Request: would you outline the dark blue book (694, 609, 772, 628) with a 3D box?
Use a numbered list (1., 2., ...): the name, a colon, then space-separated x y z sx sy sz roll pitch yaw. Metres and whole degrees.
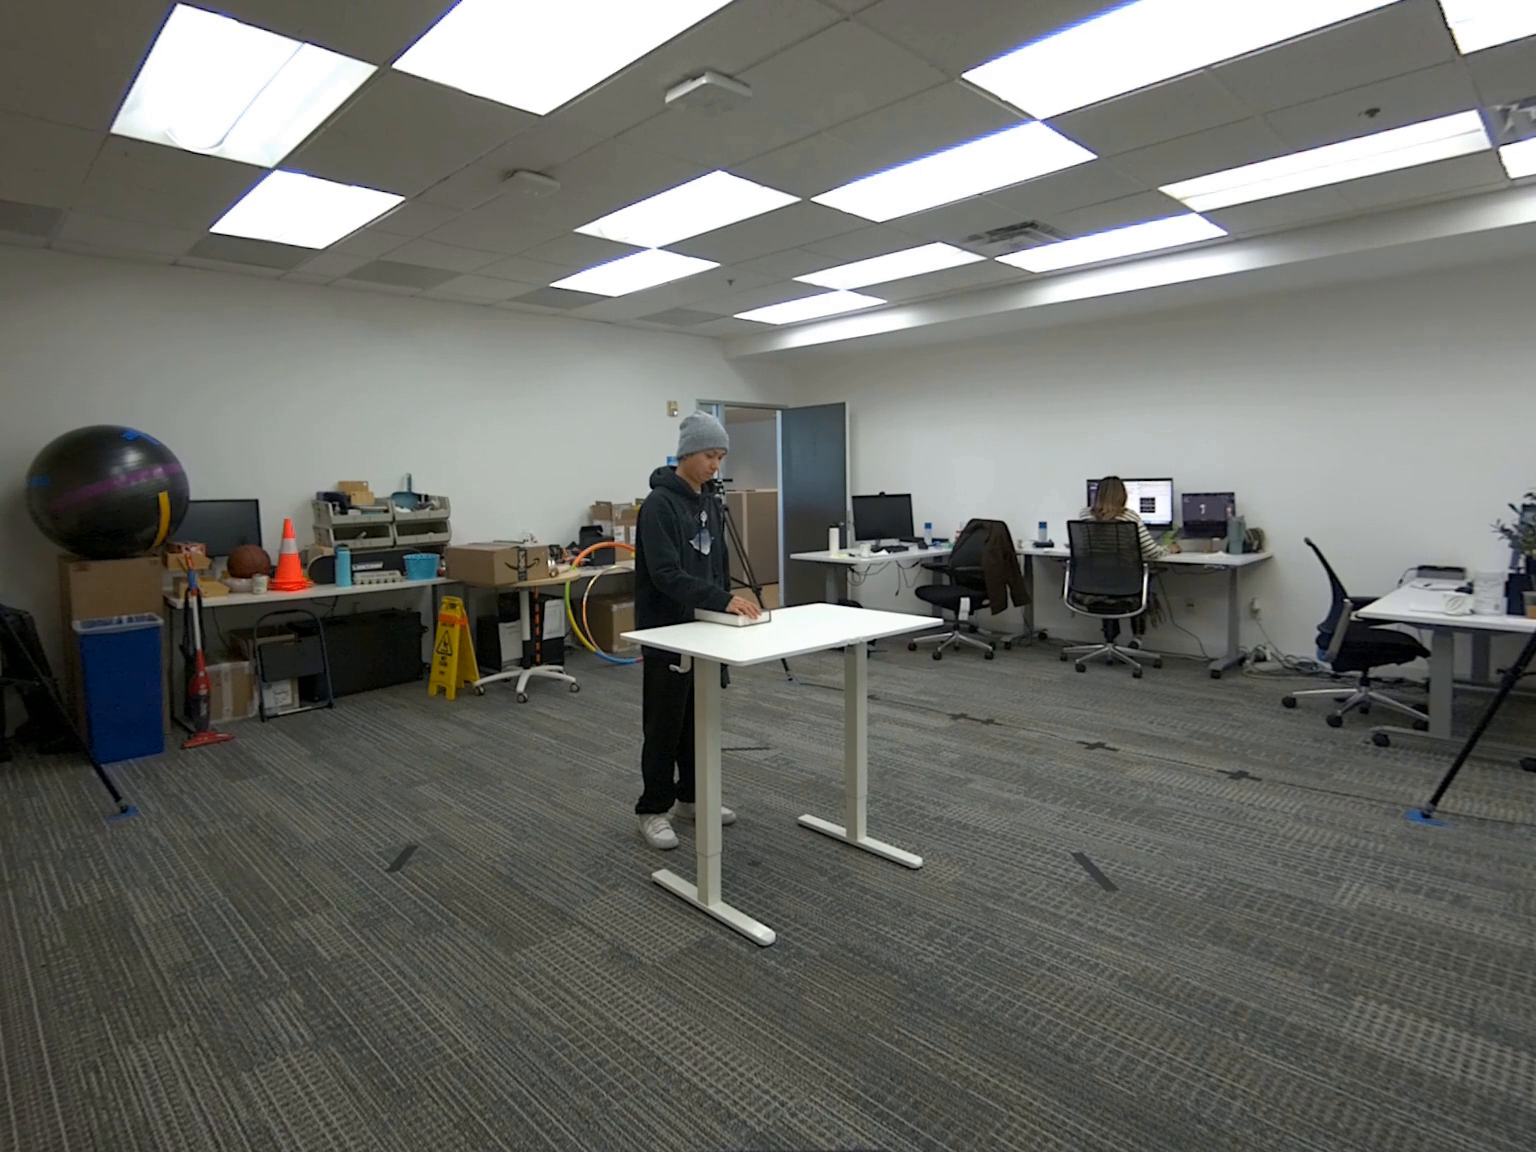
1. dark blue book: -0.129 0.145 3.098 0.159 0.045 0.253 -8 10 -44
